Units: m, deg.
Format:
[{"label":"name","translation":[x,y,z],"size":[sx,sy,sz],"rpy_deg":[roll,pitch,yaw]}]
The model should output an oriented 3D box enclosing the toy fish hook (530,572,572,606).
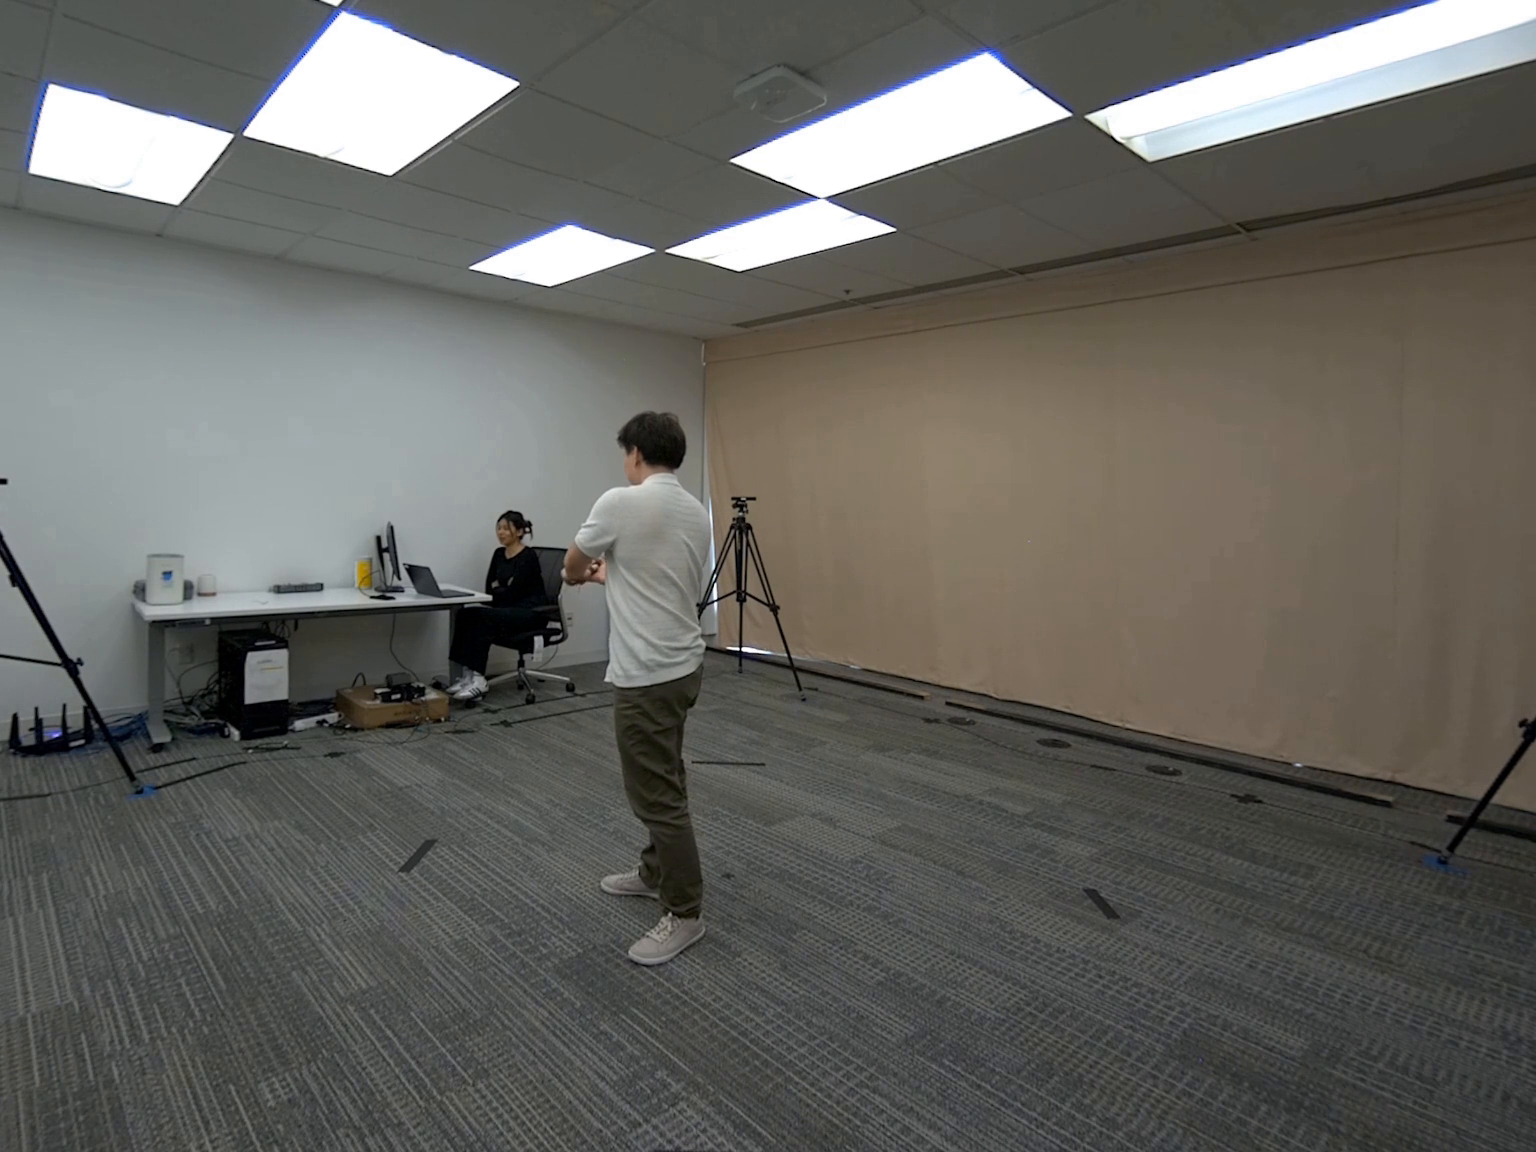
[{"label":"toy fish hook","translation":[-0.655,-0.052,3.214],"size":[0.227,0.048,0.503],"rpy_deg":[-28,6,38]}]
